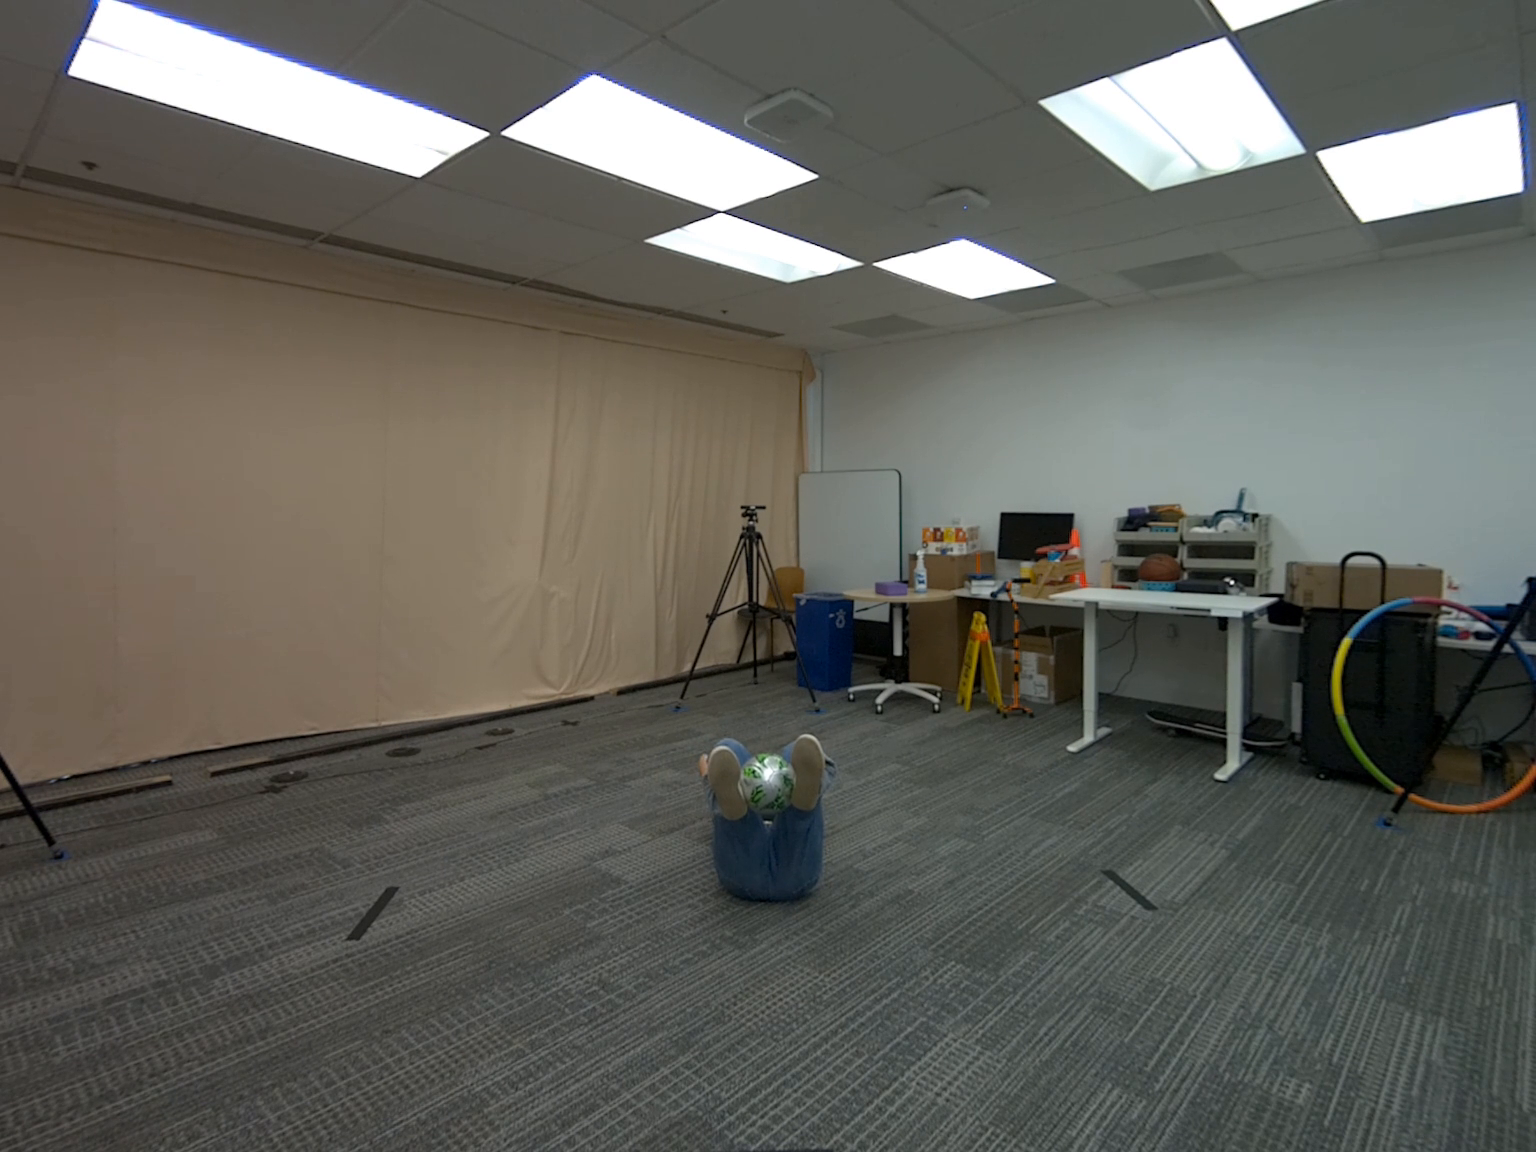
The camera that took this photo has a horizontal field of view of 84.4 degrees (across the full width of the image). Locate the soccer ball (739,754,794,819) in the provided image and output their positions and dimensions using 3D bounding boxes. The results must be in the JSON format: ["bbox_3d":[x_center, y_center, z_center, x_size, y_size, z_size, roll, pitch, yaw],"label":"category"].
[{"bbox_3d":[0.013,0.658,2.630,0.187,0.187,0.188,3,4,-2],"label":"soccer ball"}]
